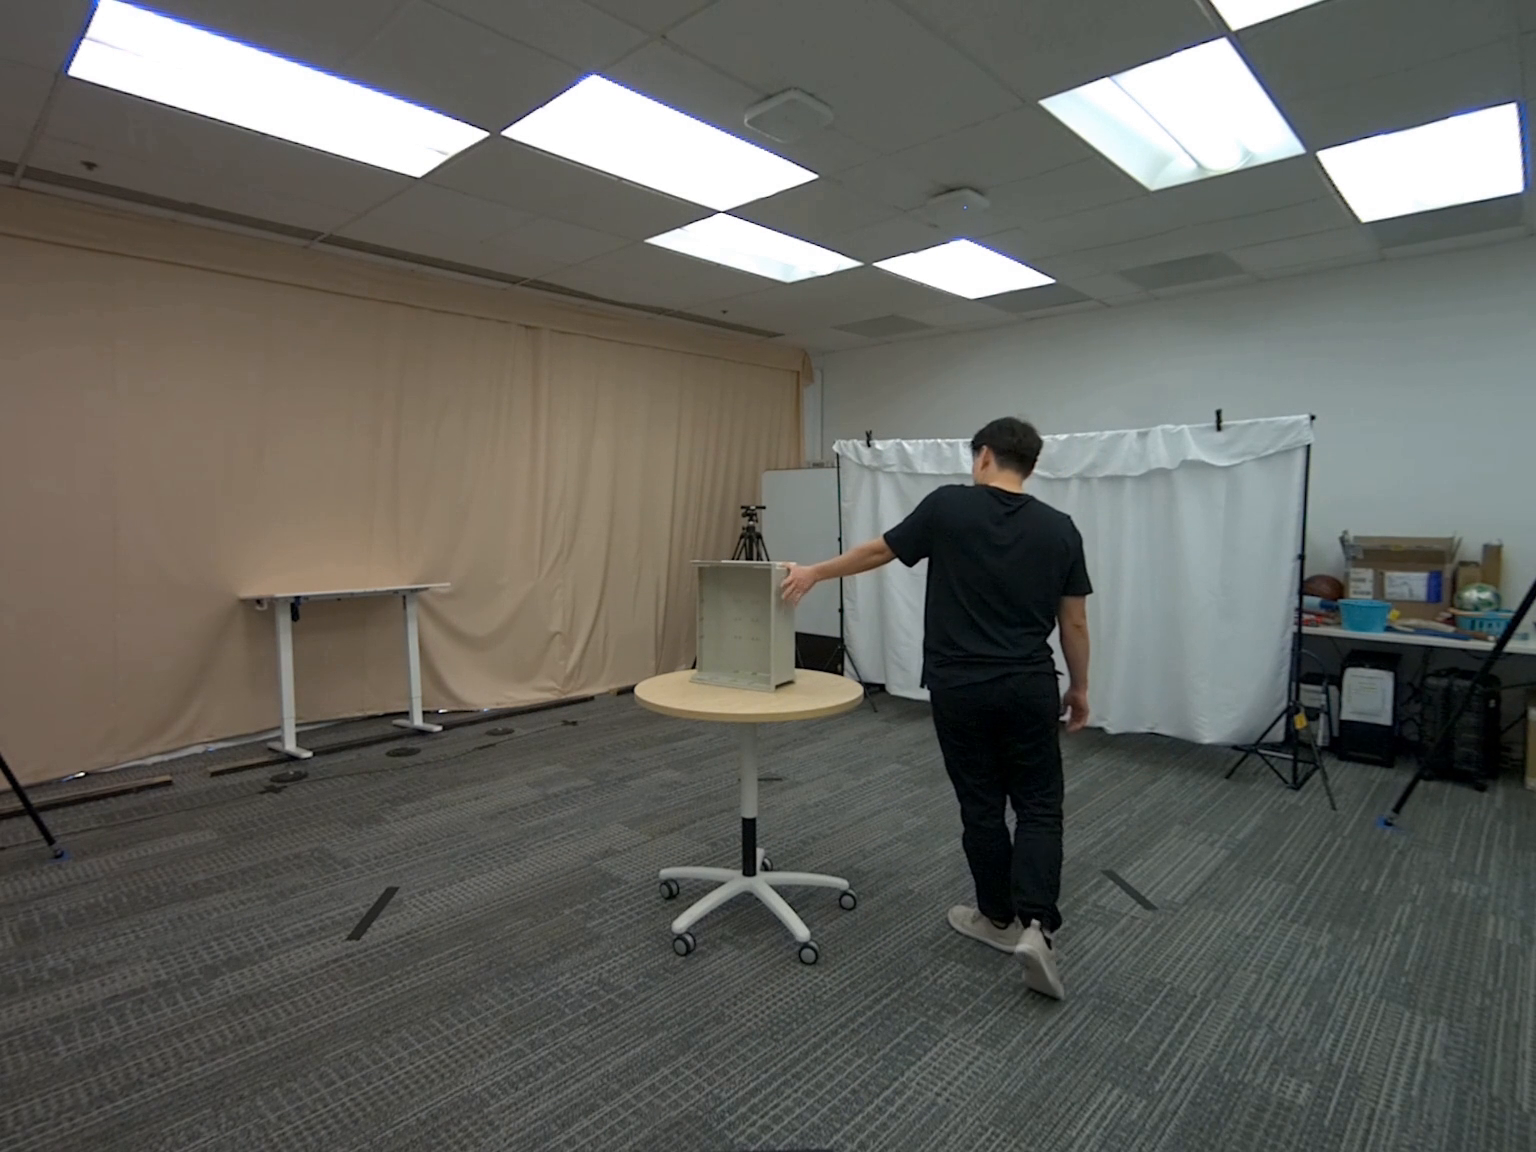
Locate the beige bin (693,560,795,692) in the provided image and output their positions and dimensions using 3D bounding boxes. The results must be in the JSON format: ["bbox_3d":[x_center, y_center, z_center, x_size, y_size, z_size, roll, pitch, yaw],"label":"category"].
[{"bbox_3d":[-0.093,0.160,2.906,0.388,0.422,0.183,2,1,32],"label":"beige bin"}]
